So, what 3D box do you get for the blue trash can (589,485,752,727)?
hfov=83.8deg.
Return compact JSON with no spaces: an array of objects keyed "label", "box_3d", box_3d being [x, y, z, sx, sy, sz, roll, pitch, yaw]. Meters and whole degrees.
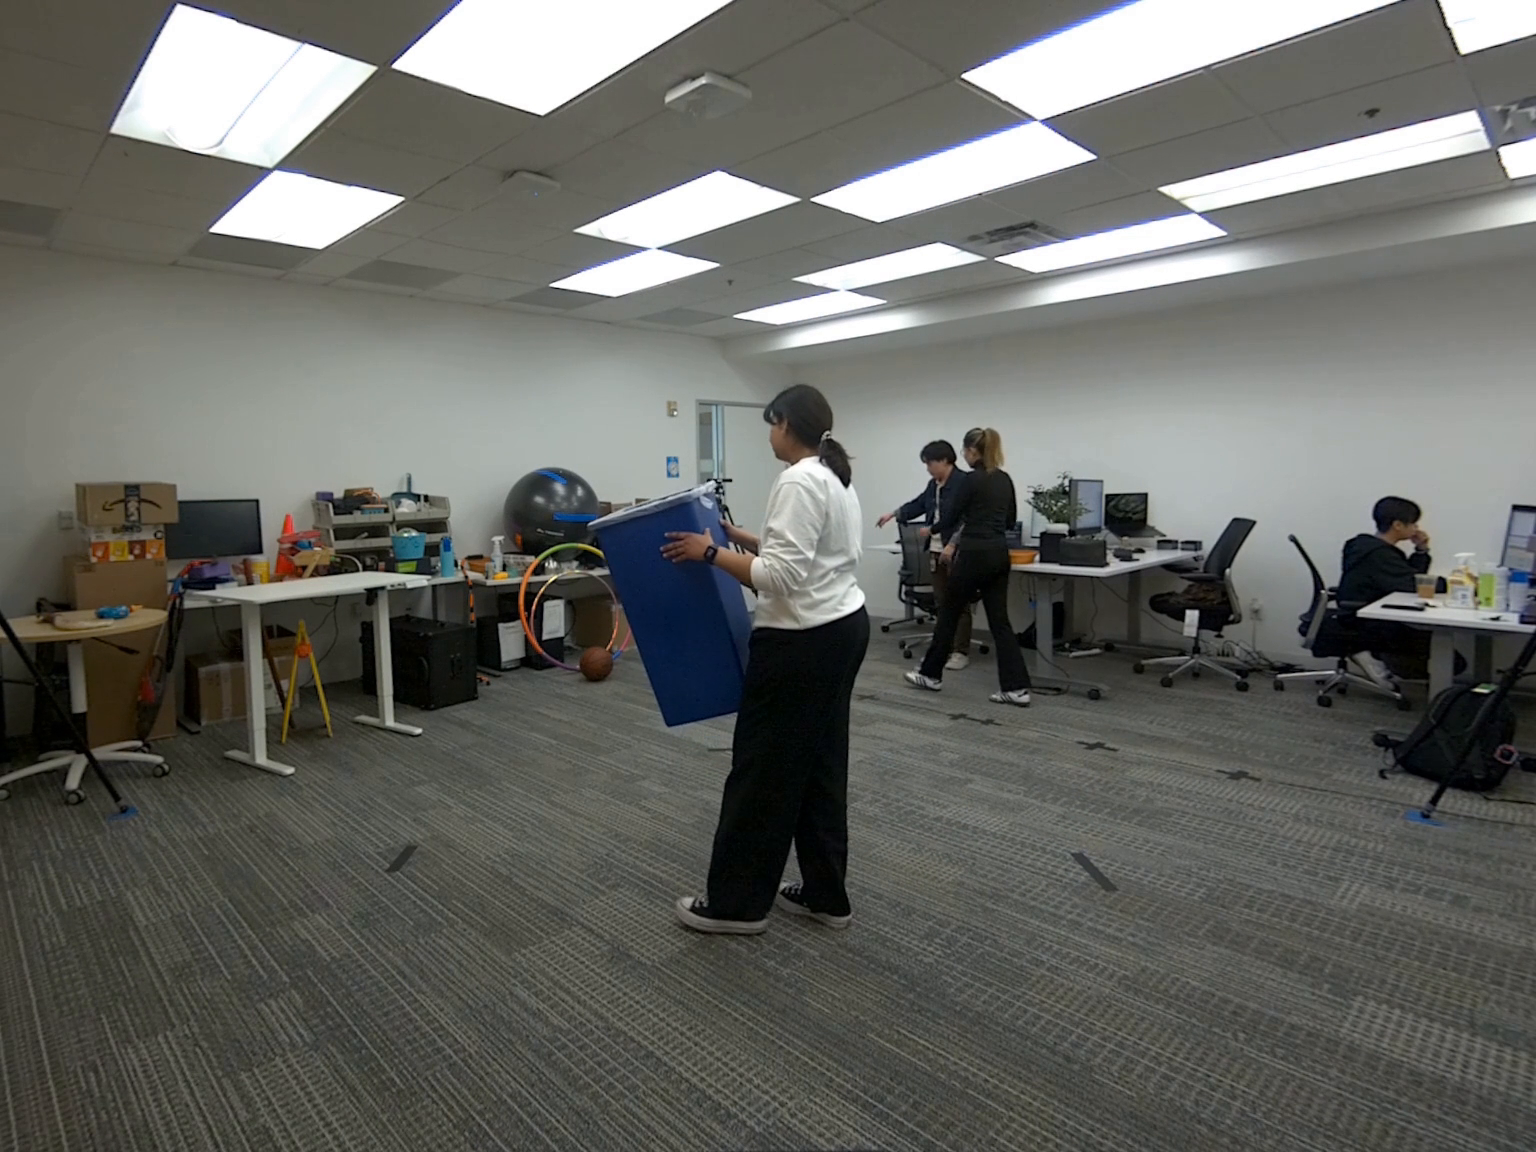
[{"label":"blue trash can","box_3d":[-0.273,0.089,2.850,0.377,0.709,0.377,-15,6,13]}]
